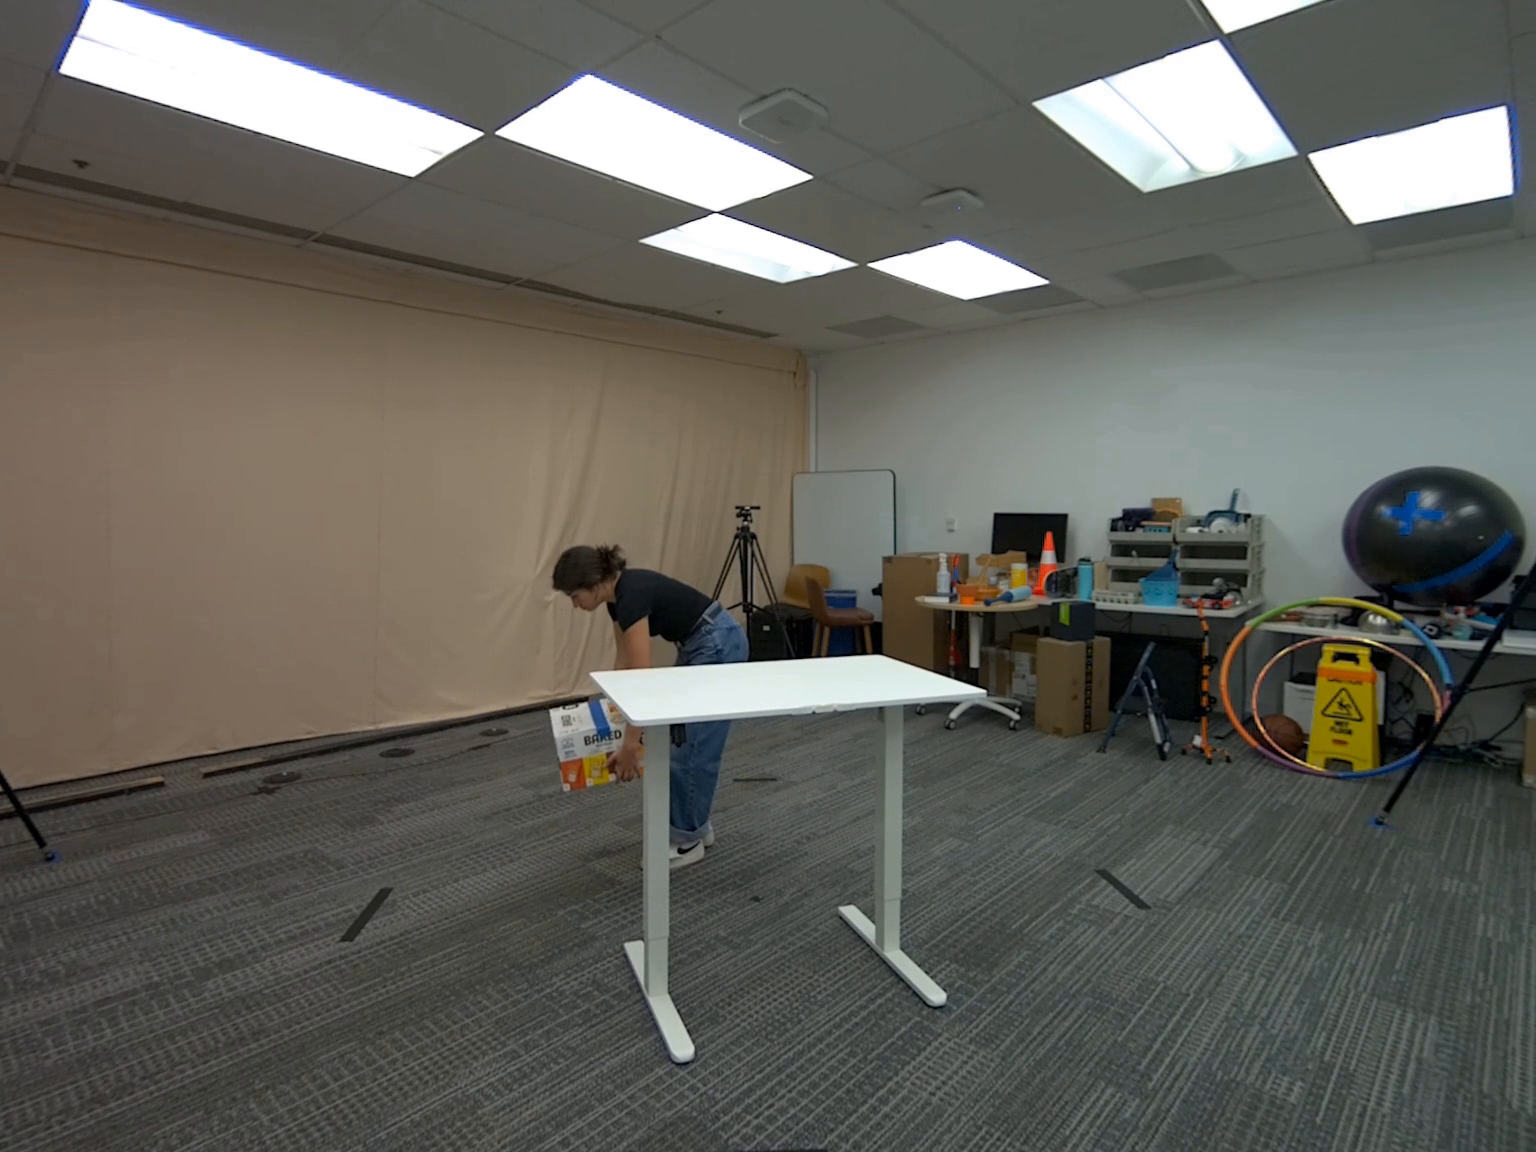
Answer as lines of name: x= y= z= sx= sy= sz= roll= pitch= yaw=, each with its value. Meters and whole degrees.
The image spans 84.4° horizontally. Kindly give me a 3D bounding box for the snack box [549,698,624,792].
snack box: x=-0.646 y=0.632 z=3.230 sx=0.336 sy=0.205 sz=0.413 roll=-9 pitch=7 yaw=-15
